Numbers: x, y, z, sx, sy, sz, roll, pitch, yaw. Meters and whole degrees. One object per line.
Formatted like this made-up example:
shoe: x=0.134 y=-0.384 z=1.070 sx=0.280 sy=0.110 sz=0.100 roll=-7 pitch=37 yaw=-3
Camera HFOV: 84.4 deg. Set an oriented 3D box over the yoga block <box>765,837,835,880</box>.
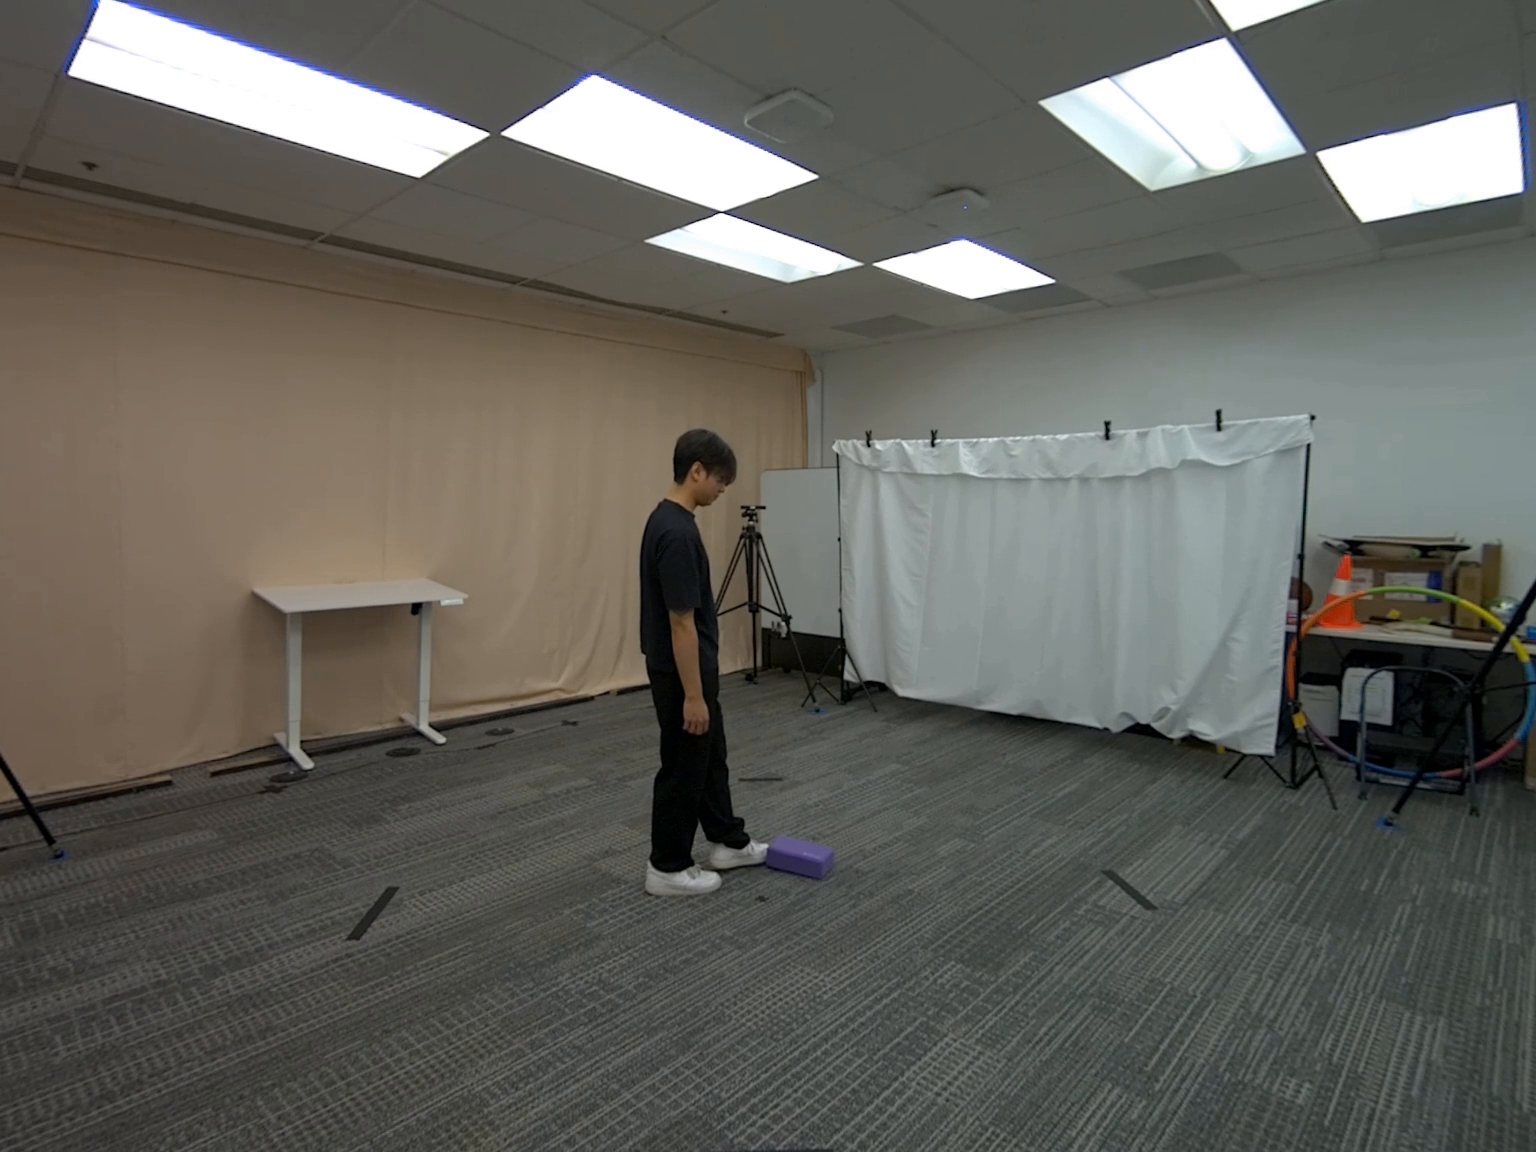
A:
yoga block: x=0.129 y=1.081 z=3.227 sx=0.235 sy=0.076 sz=0.145 roll=4 pitch=6 yaw=25
